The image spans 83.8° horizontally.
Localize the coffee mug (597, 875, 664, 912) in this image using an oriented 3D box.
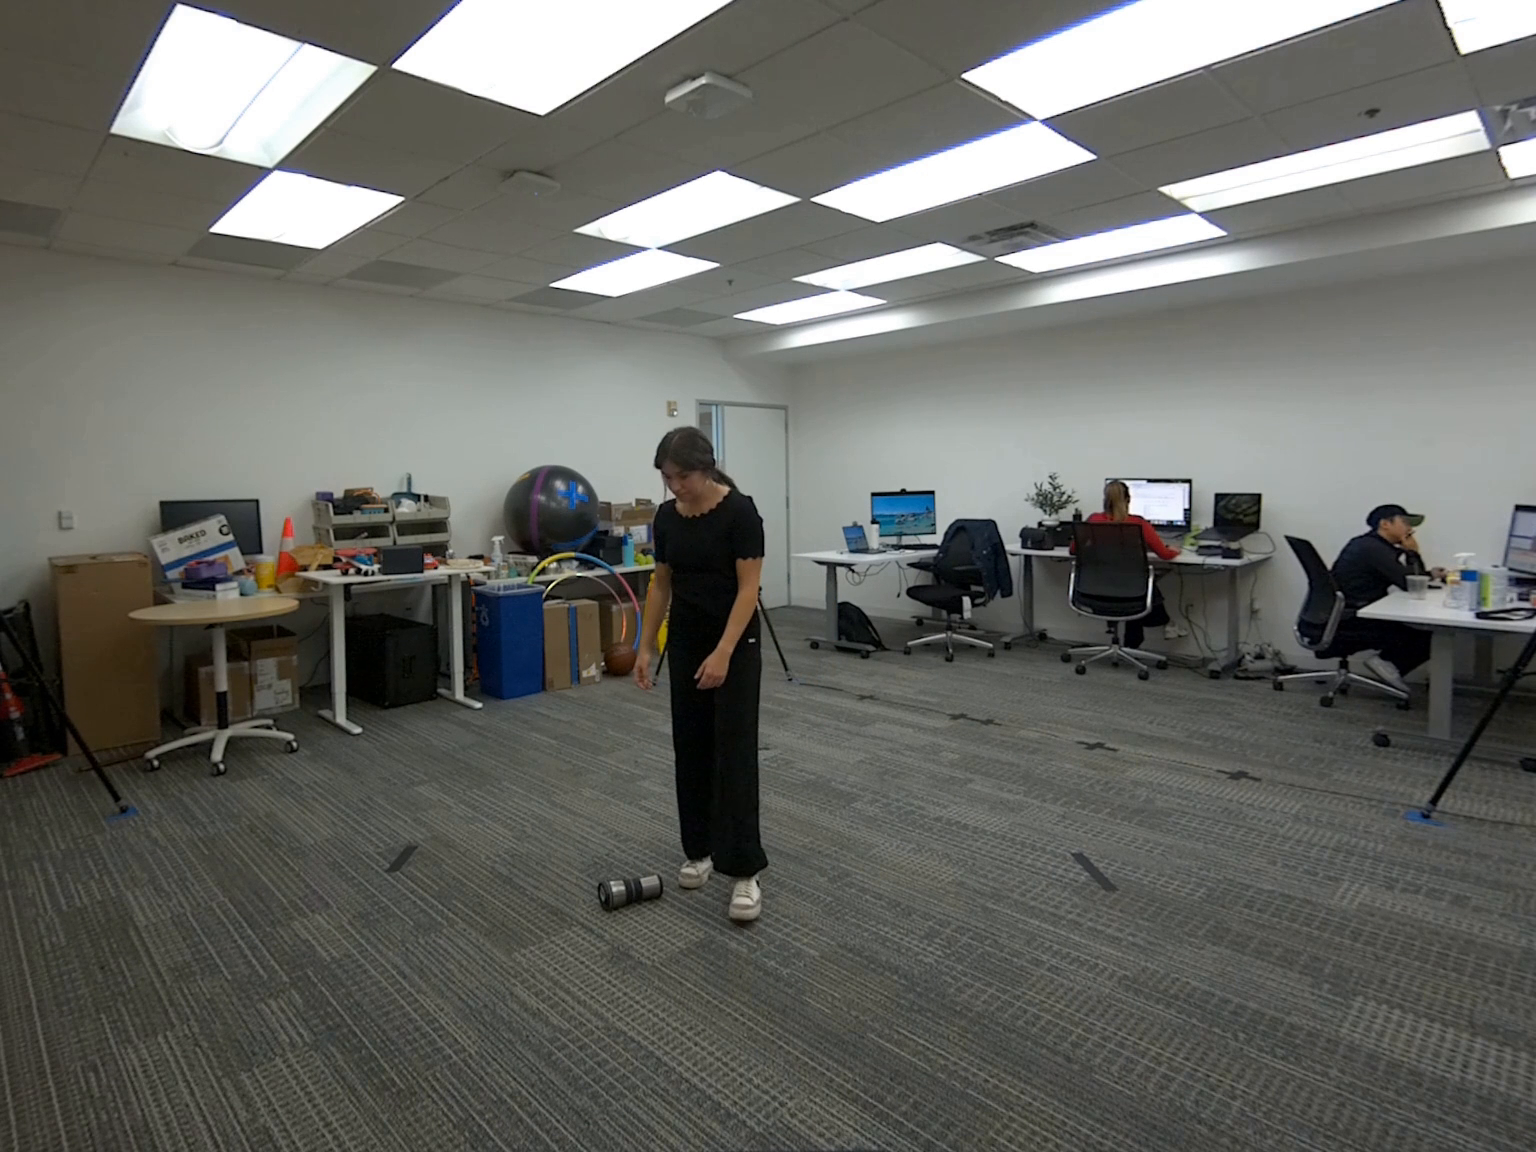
[{"bbox_3d":[-0.457,1.035,2.848,0.198,0.087,0.126,-4,18,-29],"label":"coffee mug"}]
